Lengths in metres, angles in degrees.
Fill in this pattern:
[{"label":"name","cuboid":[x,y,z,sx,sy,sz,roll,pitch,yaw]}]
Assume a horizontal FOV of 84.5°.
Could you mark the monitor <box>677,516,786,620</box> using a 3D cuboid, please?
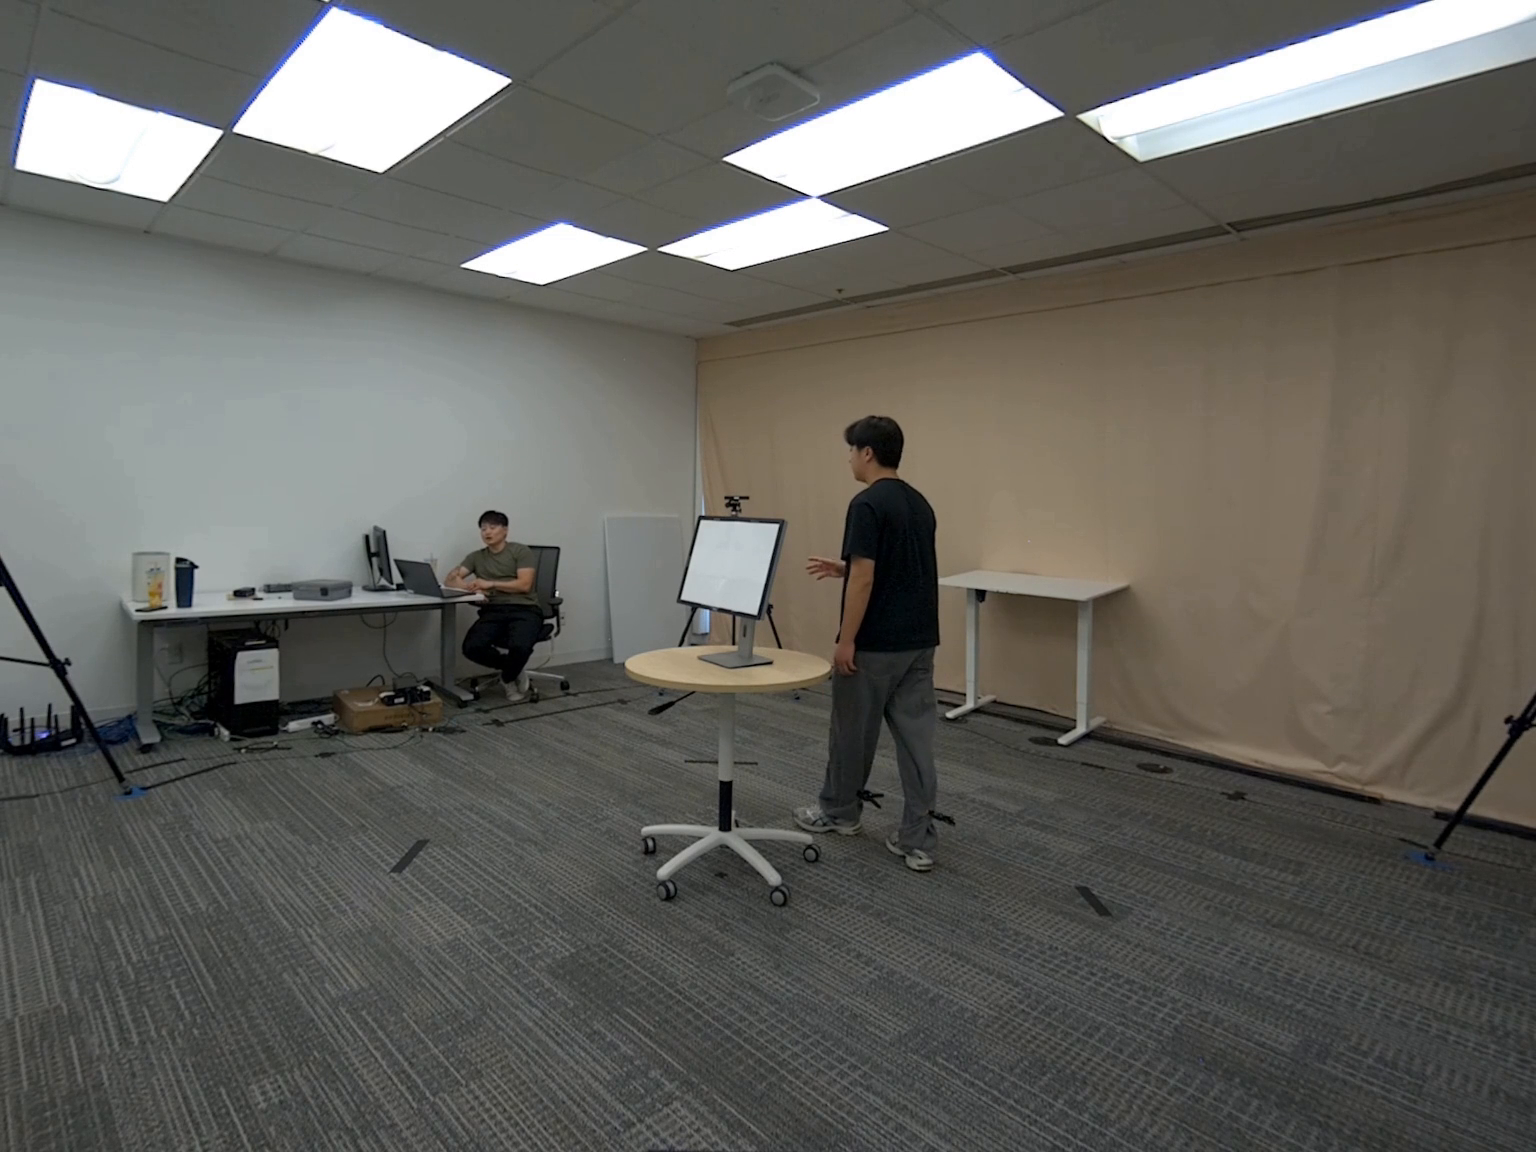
[{"label":"monitor","cuboid":[-0.127,0.062,3.166,0.218,0.564,0.575,-2,4,-32]}]
